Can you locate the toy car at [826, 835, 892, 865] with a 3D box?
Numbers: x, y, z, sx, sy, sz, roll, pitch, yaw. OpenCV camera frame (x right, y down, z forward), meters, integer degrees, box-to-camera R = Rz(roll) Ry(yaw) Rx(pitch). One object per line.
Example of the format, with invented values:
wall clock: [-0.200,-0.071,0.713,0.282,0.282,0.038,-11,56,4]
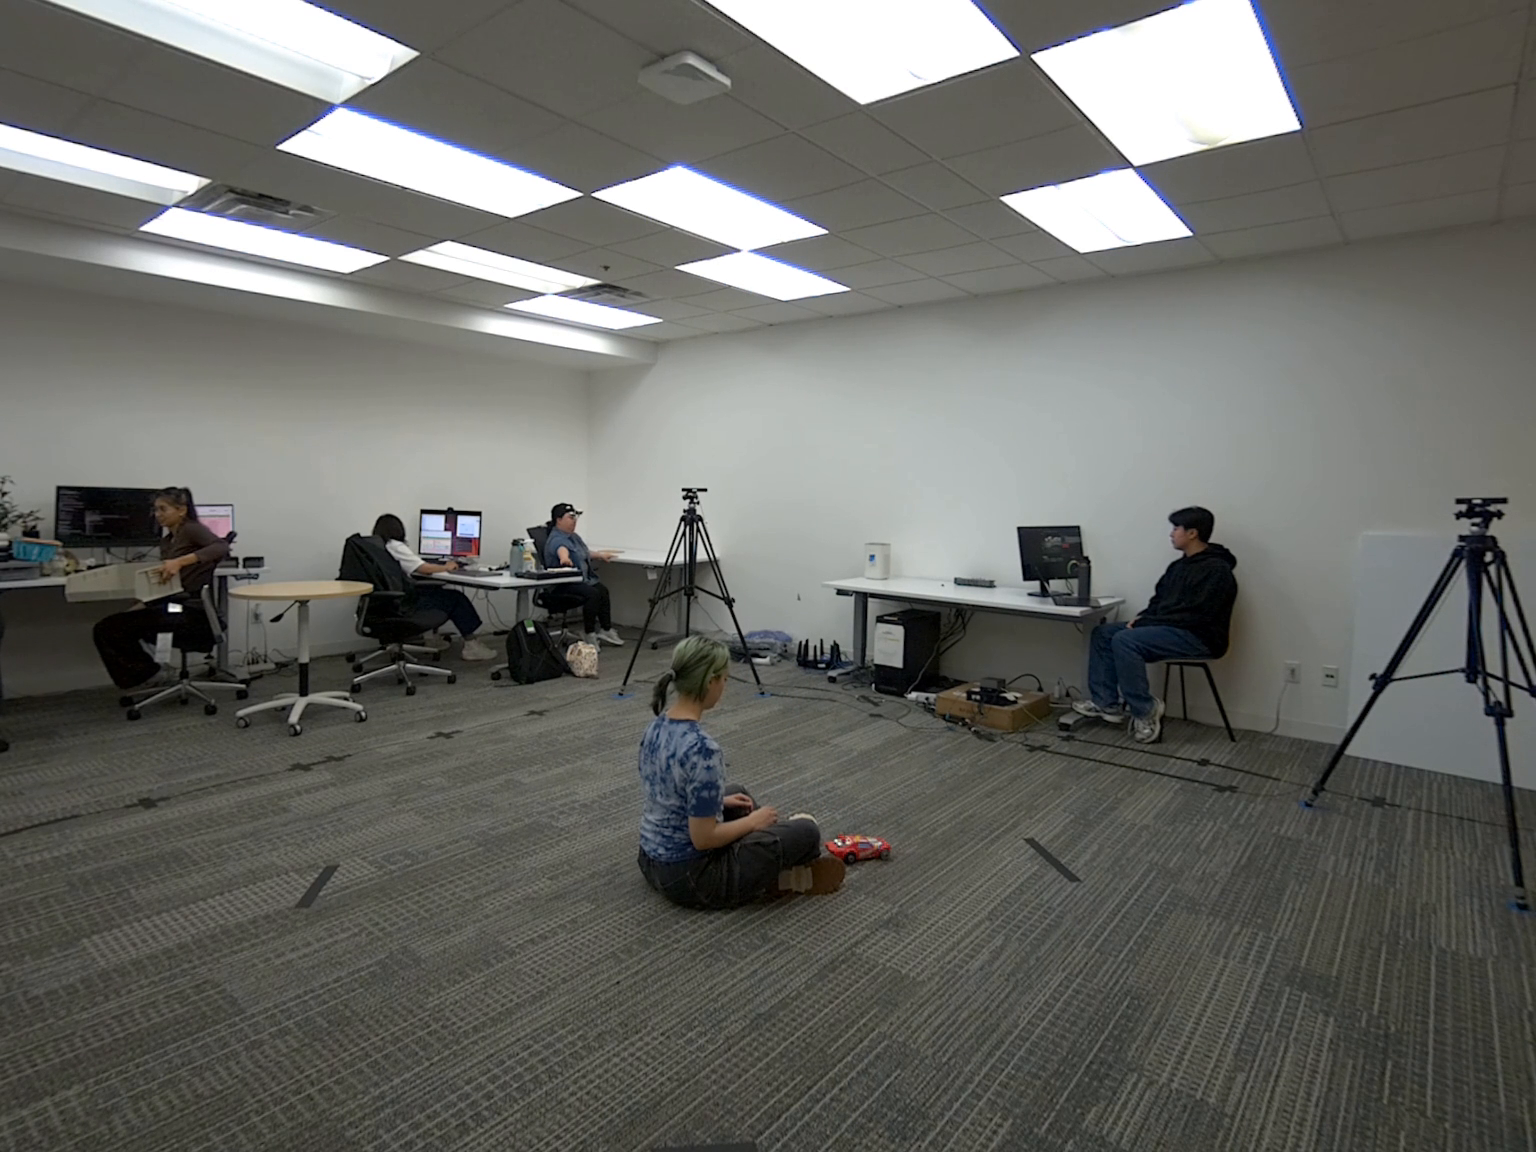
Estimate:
toy car: [0.329,1.038,3.235,0.249,0.083,0.133,11,2,-18]
